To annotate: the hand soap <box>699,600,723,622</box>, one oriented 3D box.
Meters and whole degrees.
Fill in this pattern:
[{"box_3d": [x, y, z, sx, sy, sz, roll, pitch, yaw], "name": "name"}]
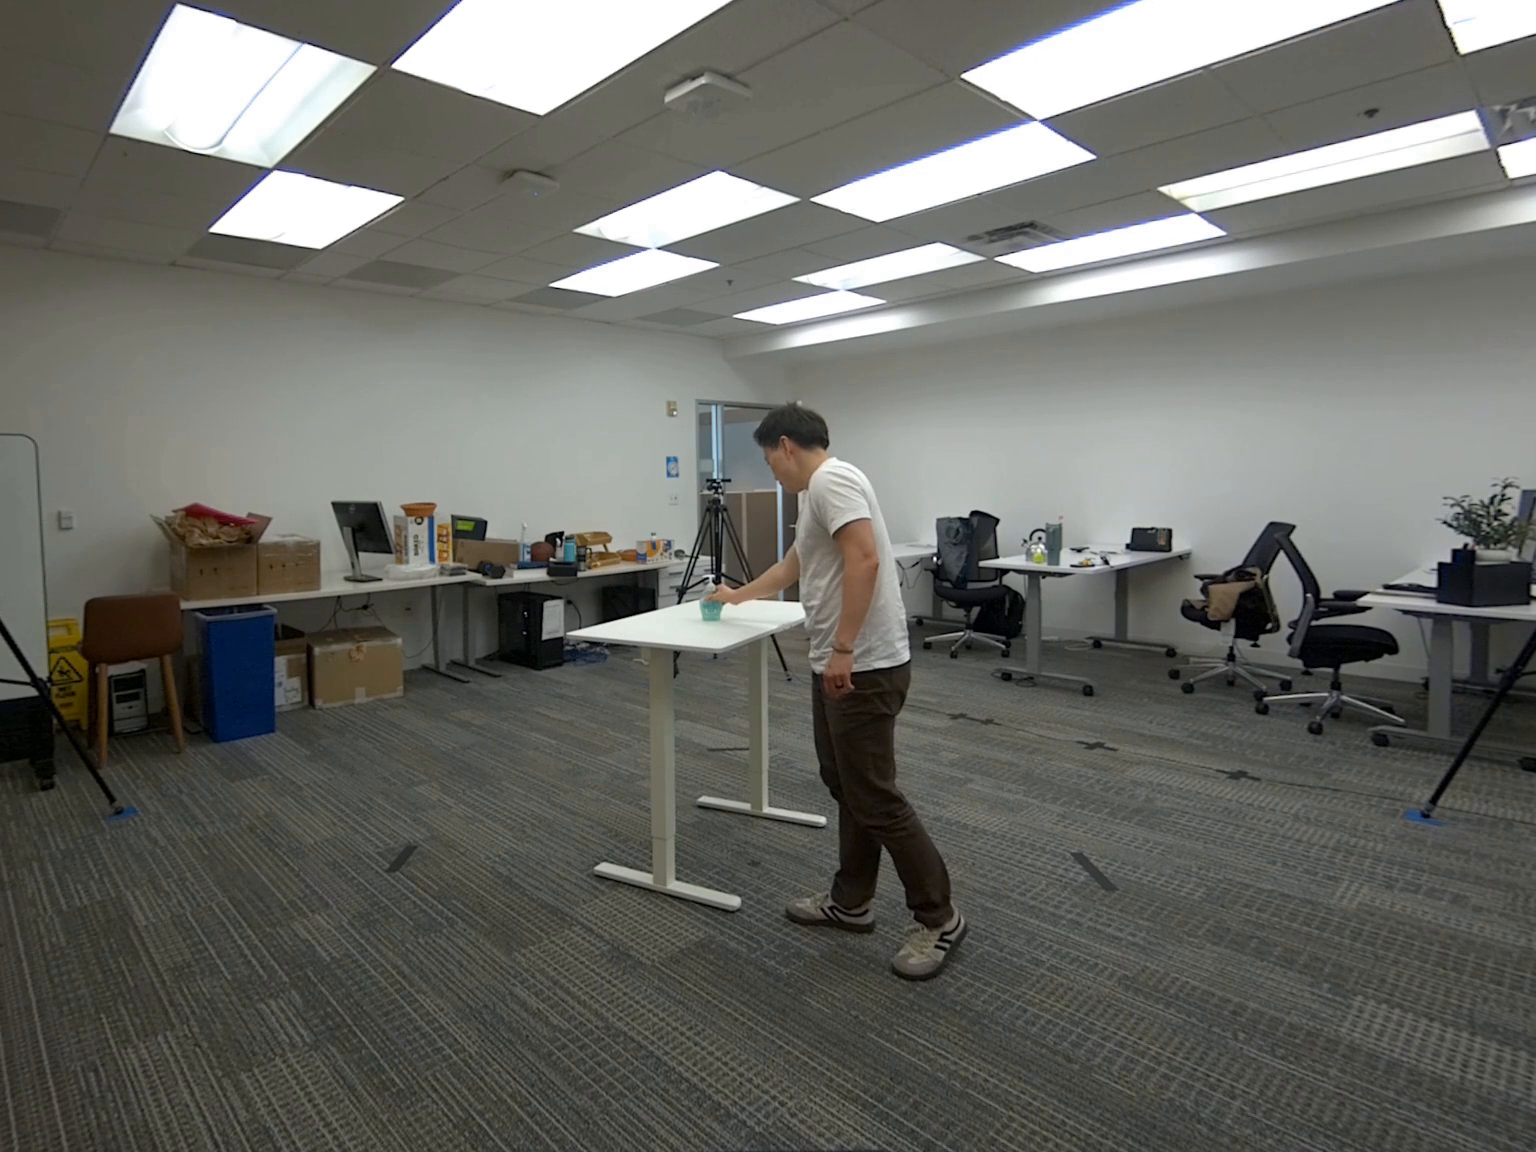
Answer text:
[{"box_3d": [-0.199, 0.081, 3.133, 0.084, 0.168, 0.043, 1, 2, -3], "name": "hand soap"}]
